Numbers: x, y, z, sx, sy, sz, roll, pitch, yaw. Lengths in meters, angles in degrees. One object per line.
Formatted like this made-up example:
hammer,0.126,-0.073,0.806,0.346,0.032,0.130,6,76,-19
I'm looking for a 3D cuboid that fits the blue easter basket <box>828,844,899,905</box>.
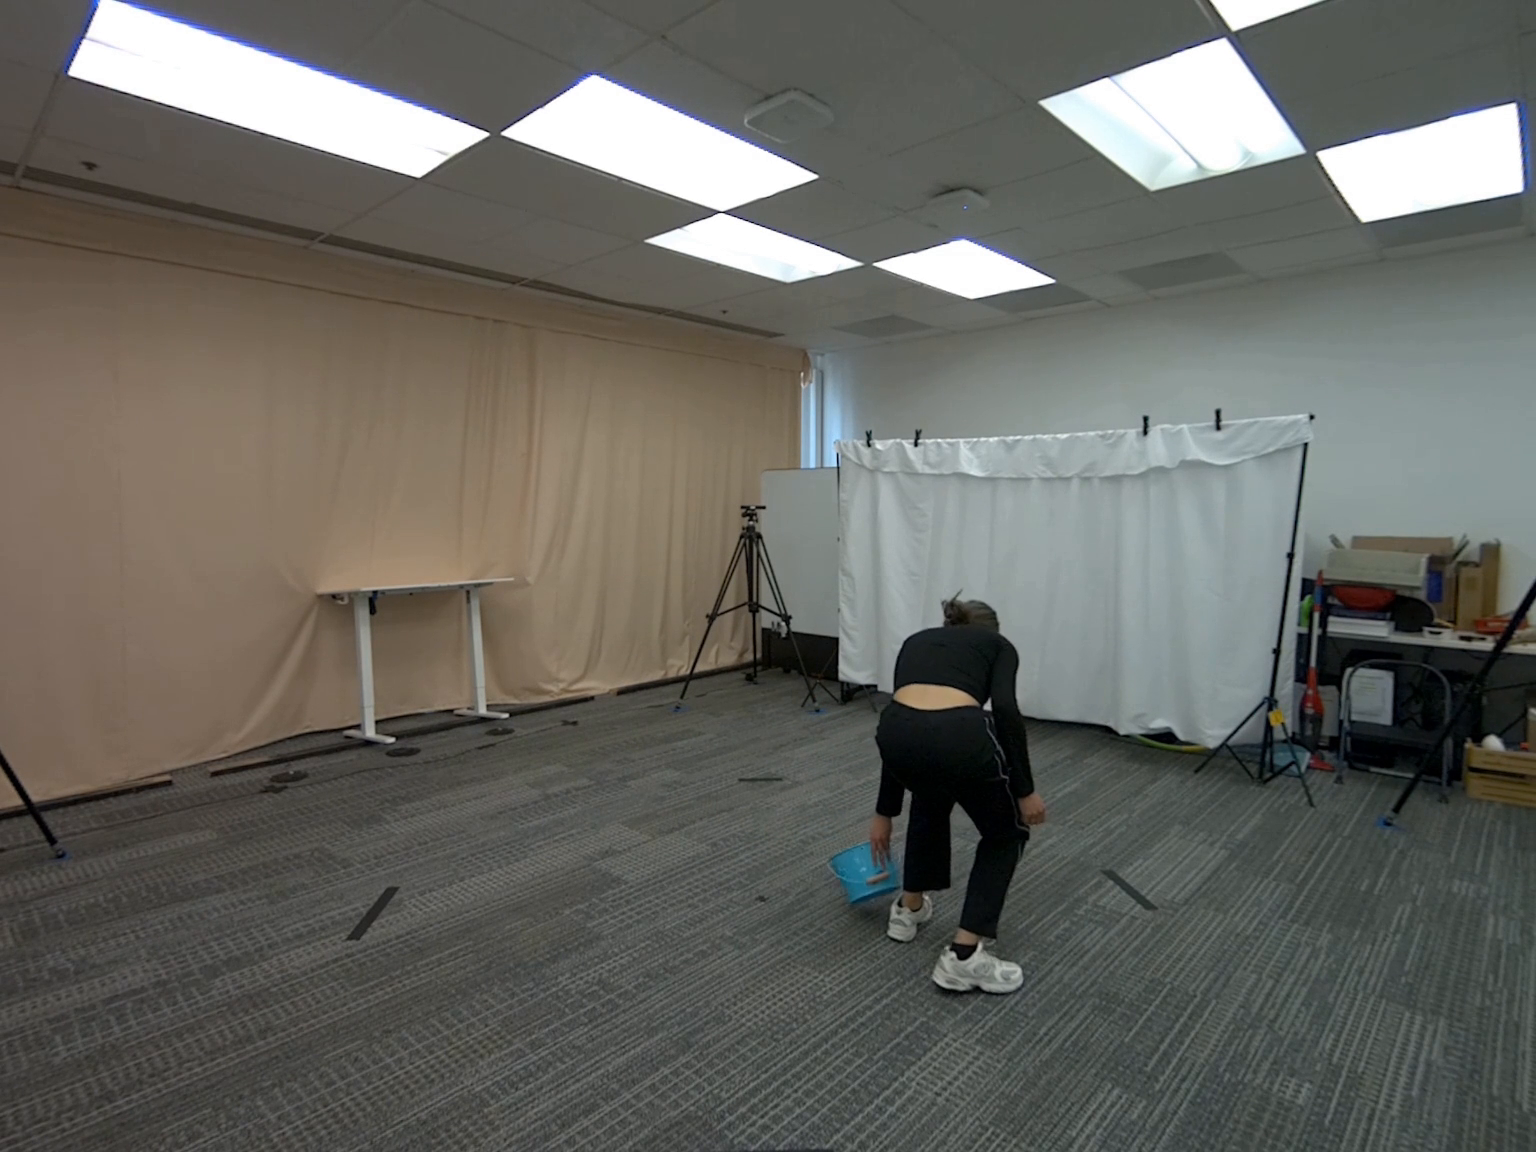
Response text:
blue easter basket,0.344,1.014,2.874,0.241,0.160,0.239,-12,-33,-10
